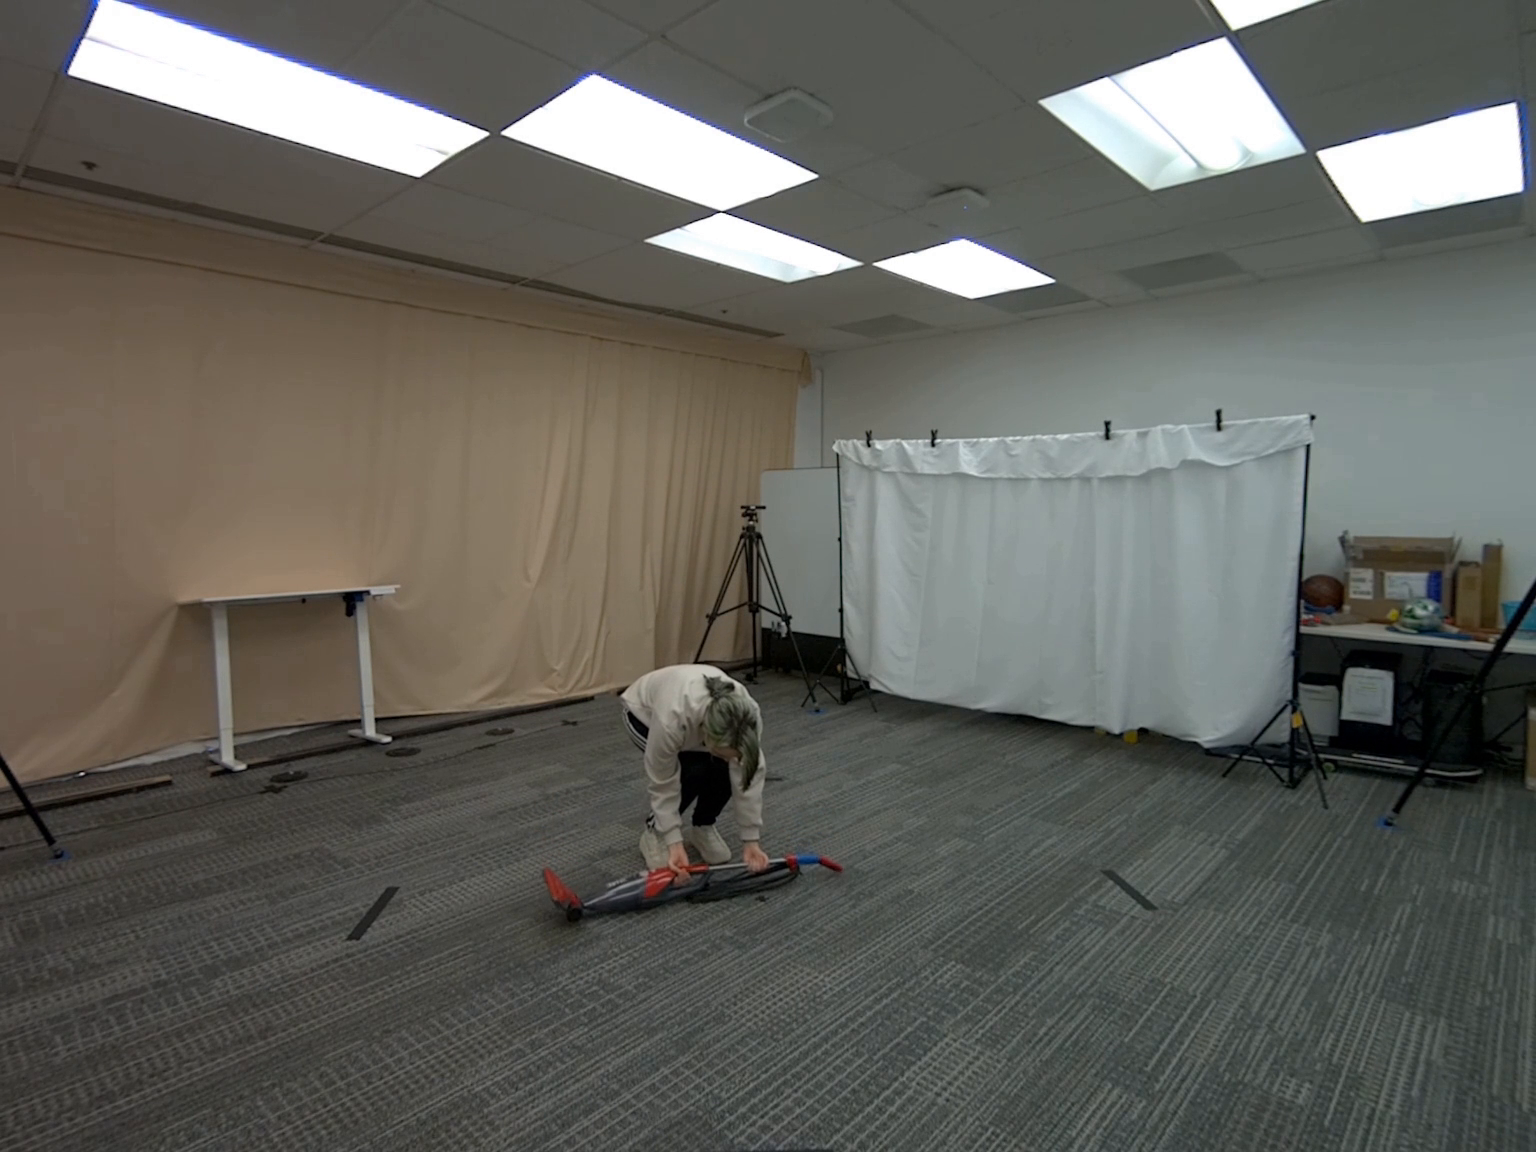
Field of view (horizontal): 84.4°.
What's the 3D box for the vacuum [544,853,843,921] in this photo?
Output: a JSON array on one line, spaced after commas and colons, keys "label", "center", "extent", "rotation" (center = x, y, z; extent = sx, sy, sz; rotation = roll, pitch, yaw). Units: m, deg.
[{"label": "vacuum", "center": [-0.212, 1.074, 2.997], "extent": [1.026, 0.144, 0.259], "rotation": [1, 4, -21]}]
